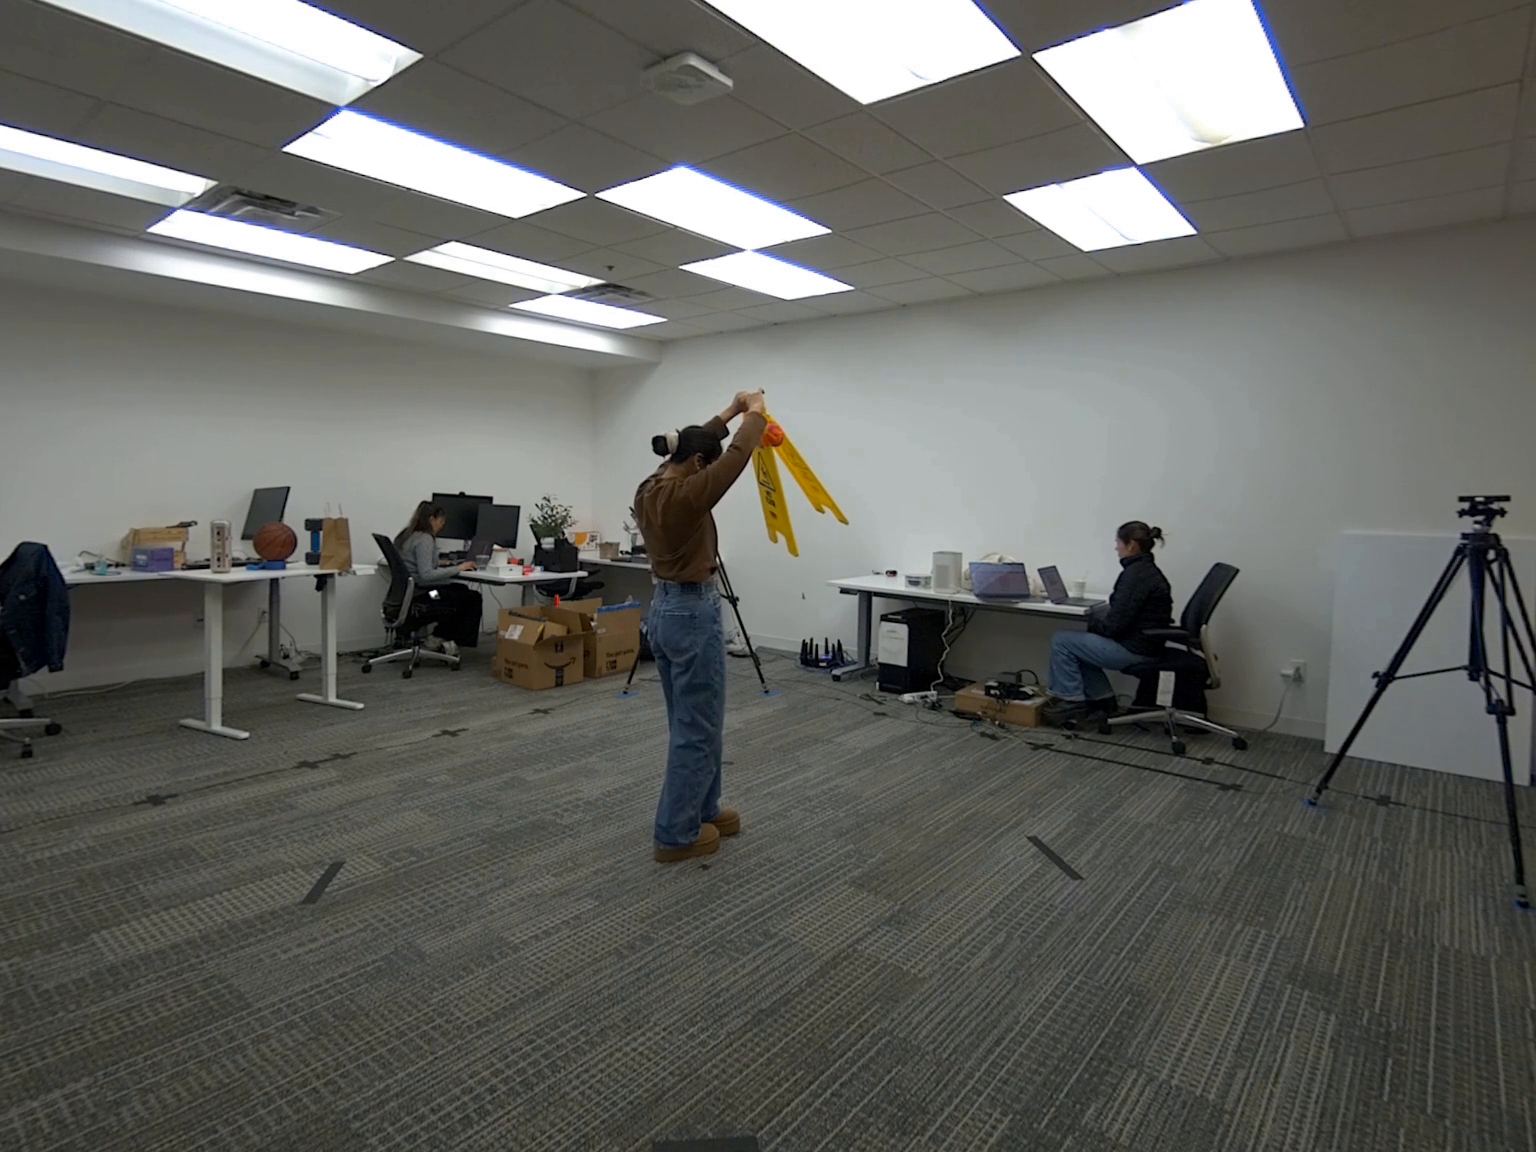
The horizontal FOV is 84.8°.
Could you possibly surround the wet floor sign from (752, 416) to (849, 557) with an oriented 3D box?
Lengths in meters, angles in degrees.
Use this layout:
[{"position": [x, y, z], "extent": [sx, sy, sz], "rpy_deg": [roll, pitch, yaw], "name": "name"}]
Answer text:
[{"position": [0.041, -0.446, 3.514], "extent": [0.288, 0.628, 0.292], "rpy_deg": [-30, 24, -13], "name": "wet floor sign"}]
